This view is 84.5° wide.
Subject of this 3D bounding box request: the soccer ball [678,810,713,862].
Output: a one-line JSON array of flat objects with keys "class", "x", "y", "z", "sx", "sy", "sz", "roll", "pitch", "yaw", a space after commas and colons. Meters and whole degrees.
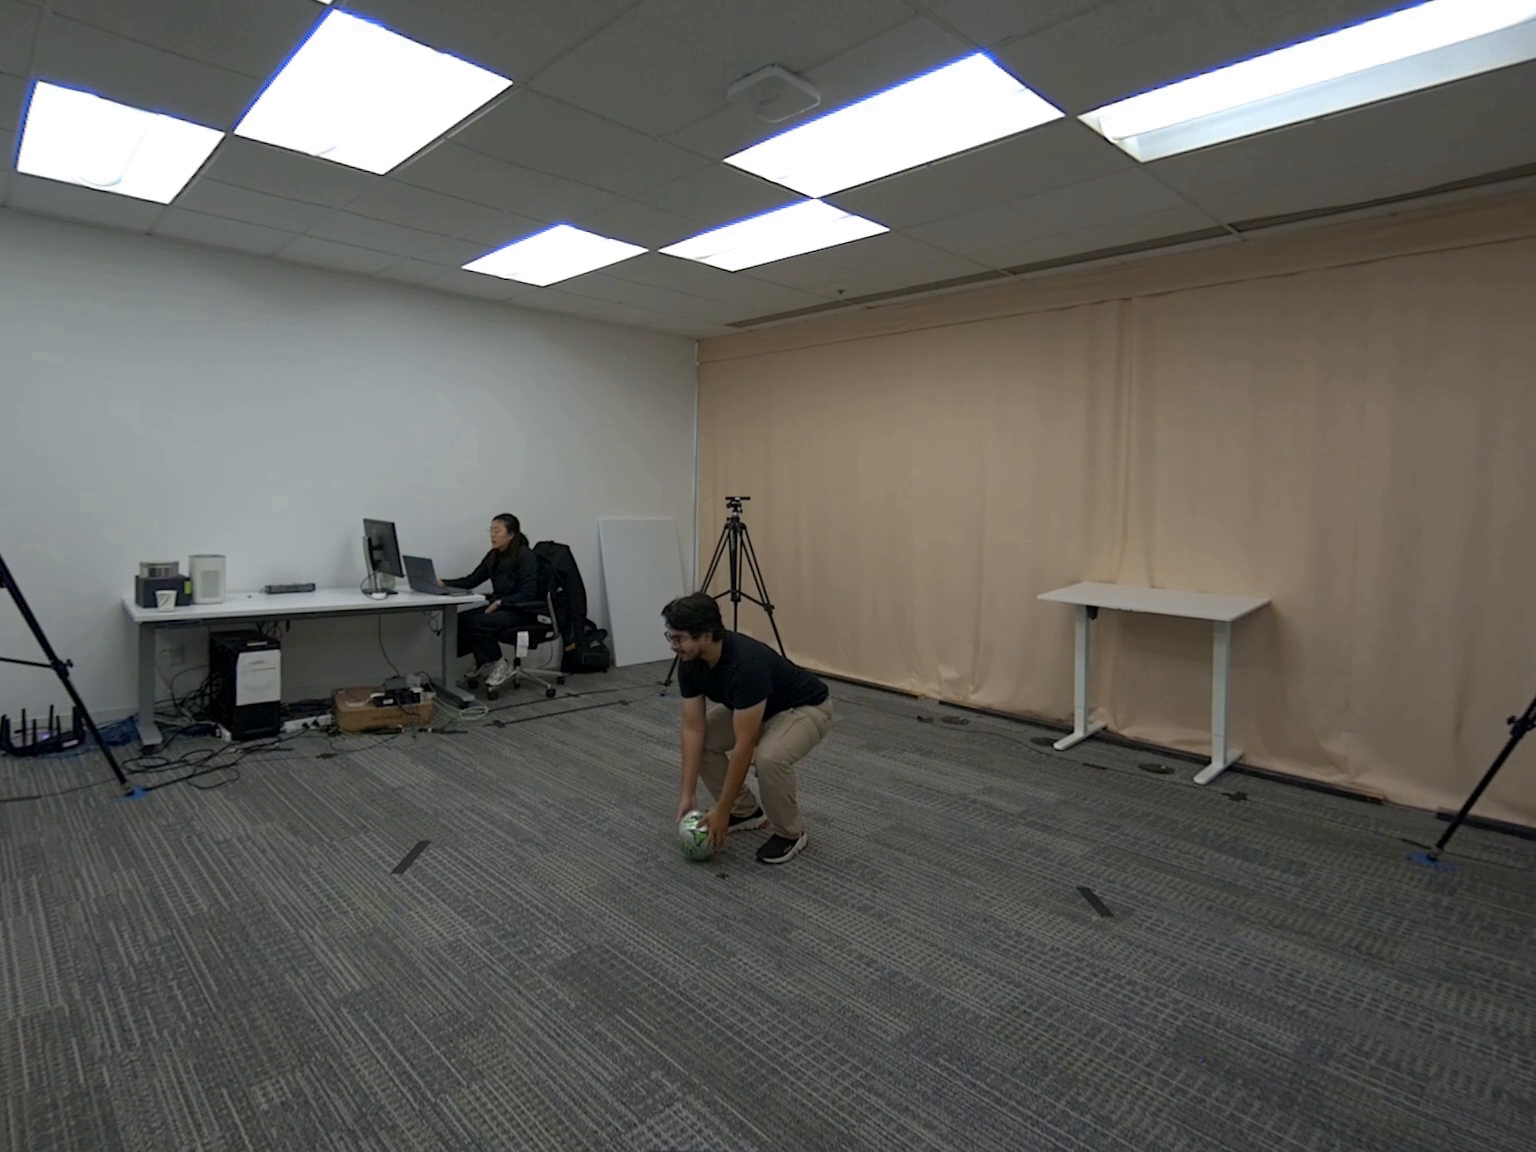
[{"class": "soccer ball", "x": -0.266, "y": 0.981, "z": 3.242, "sx": 0.187, "sy": 0.187, "sz": 0.188, "roll": 1, "pitch": 4, "yaw": -1}]
